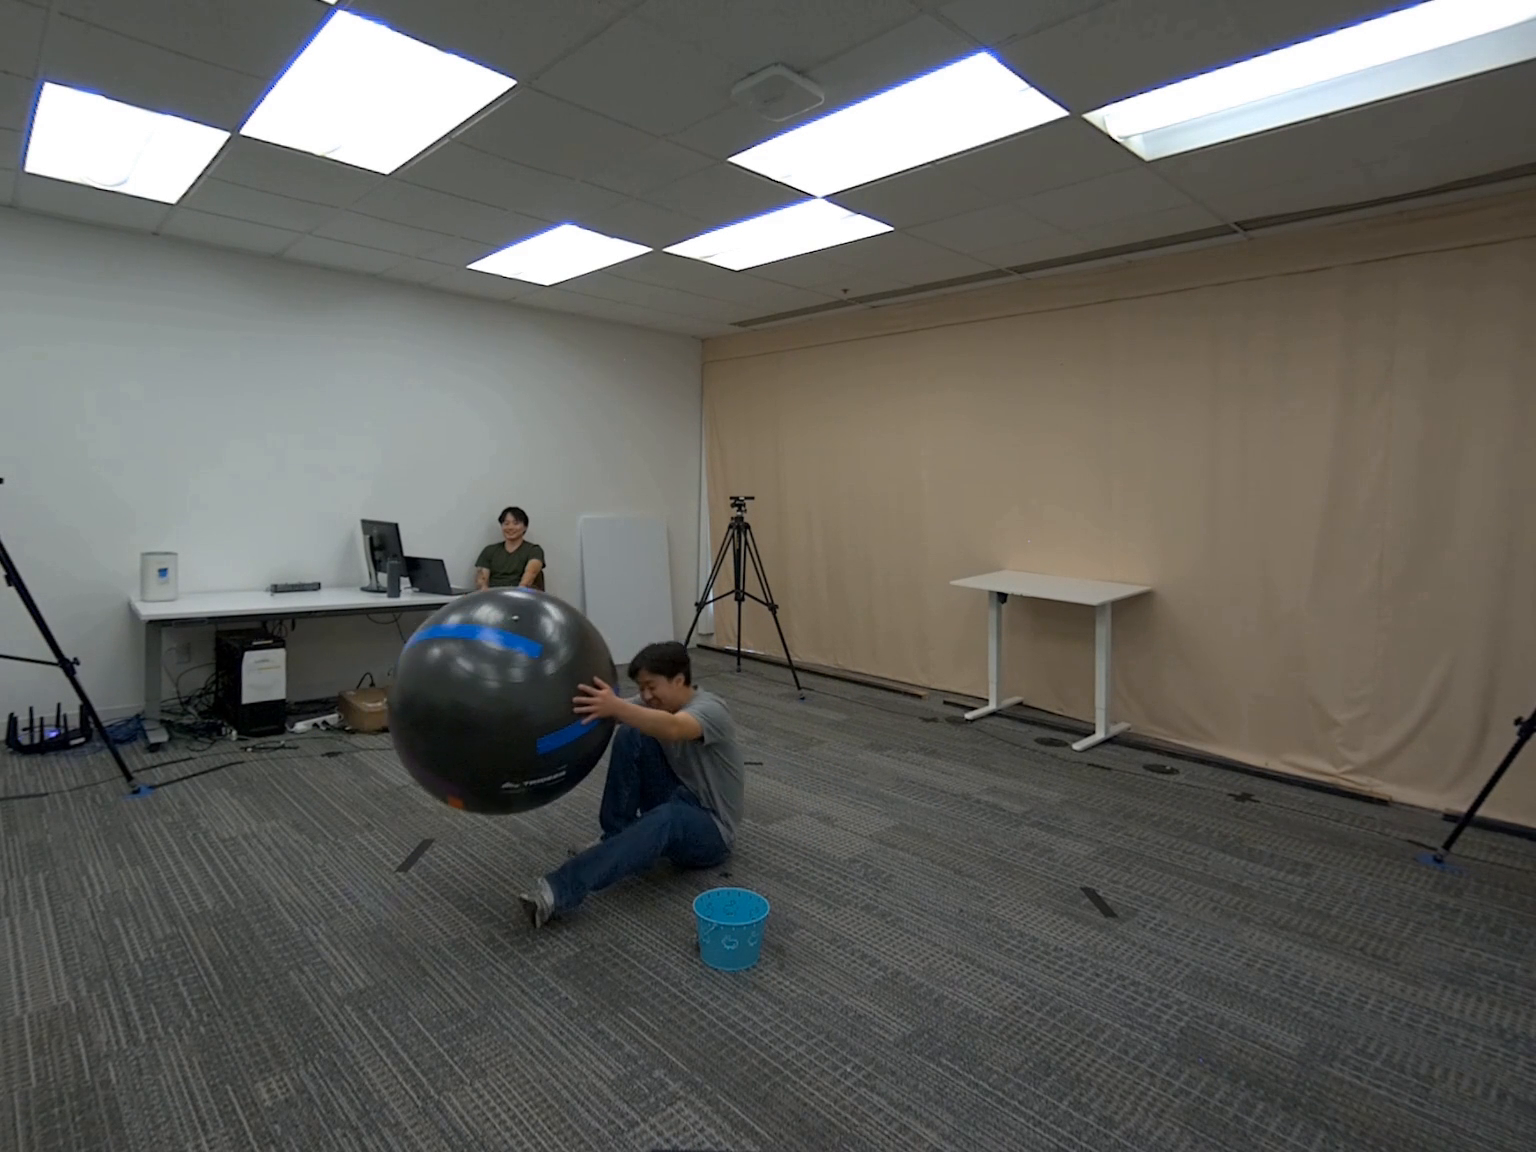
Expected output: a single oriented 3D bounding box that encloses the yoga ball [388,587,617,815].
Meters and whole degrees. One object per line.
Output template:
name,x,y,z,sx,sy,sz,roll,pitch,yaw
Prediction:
yoga ball,-0.899,0.438,2.858,0.757,0.756,0.761,1,4,-1
